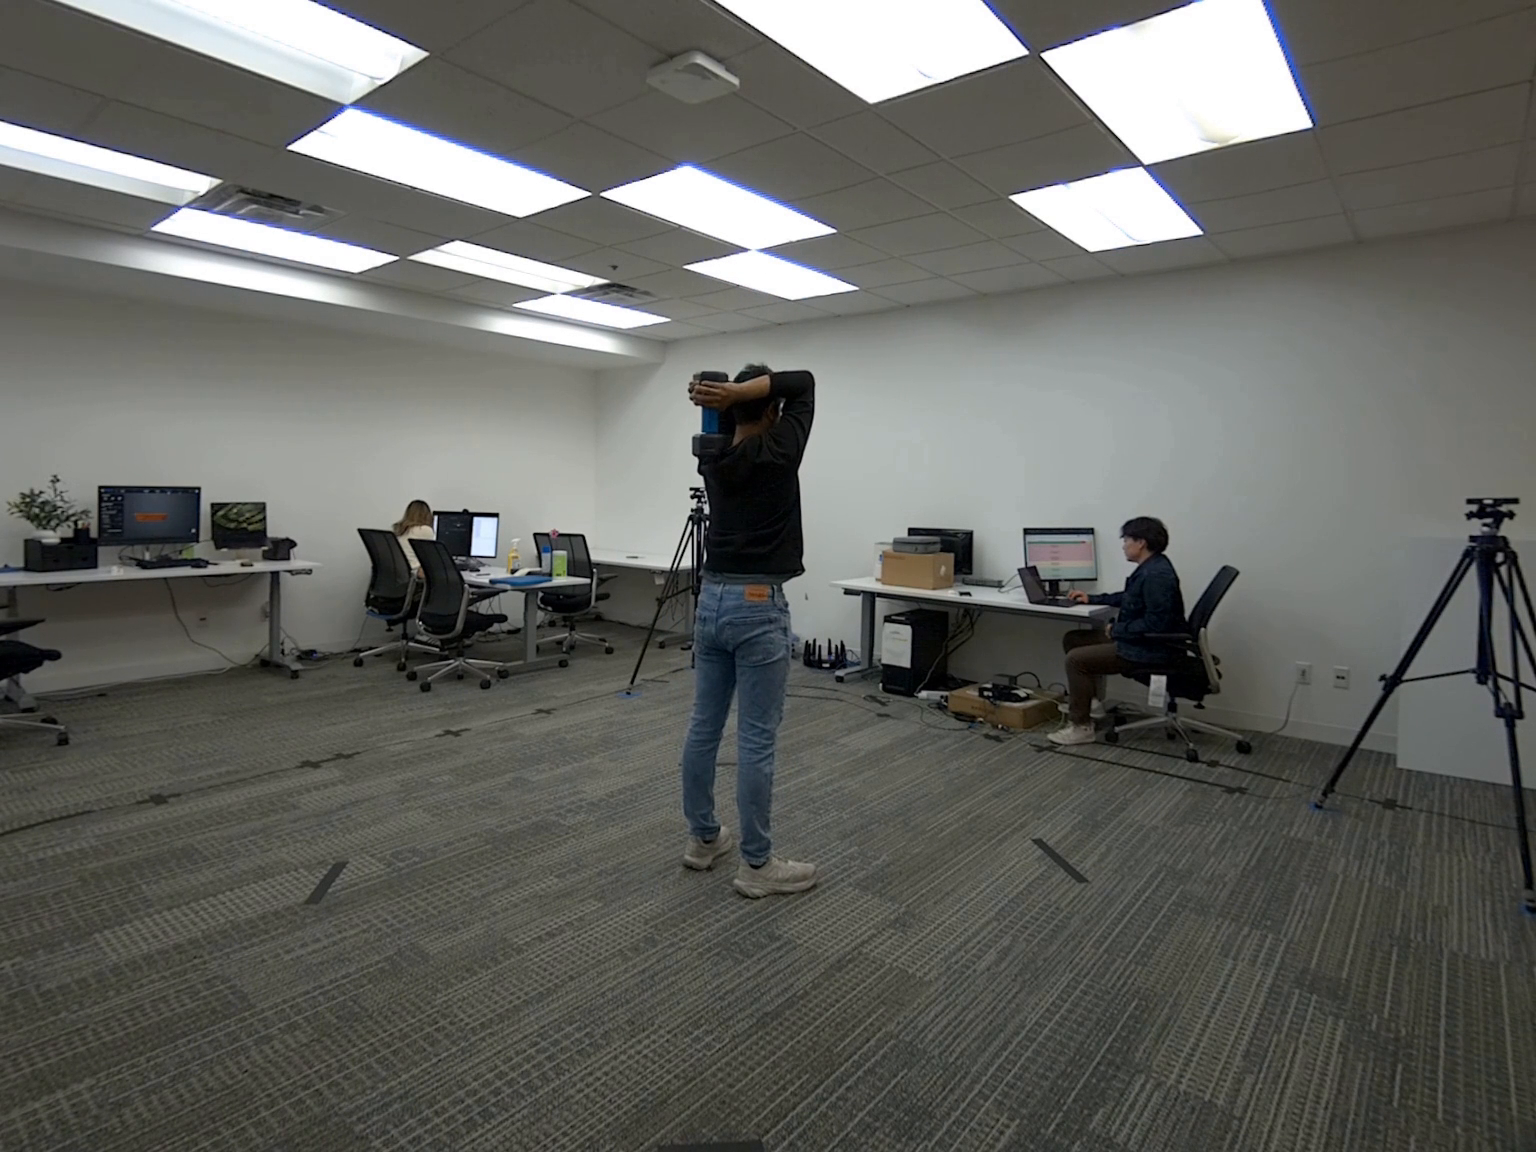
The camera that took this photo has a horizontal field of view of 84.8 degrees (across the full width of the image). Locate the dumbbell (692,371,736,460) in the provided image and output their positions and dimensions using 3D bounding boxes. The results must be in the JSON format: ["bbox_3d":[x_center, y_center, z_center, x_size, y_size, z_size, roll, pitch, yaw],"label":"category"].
[{"bbox_3d":[-0.207,-0.567,2.953,0.105,0.293,0.127,0,4,-41],"label":"dumbbell"}]
